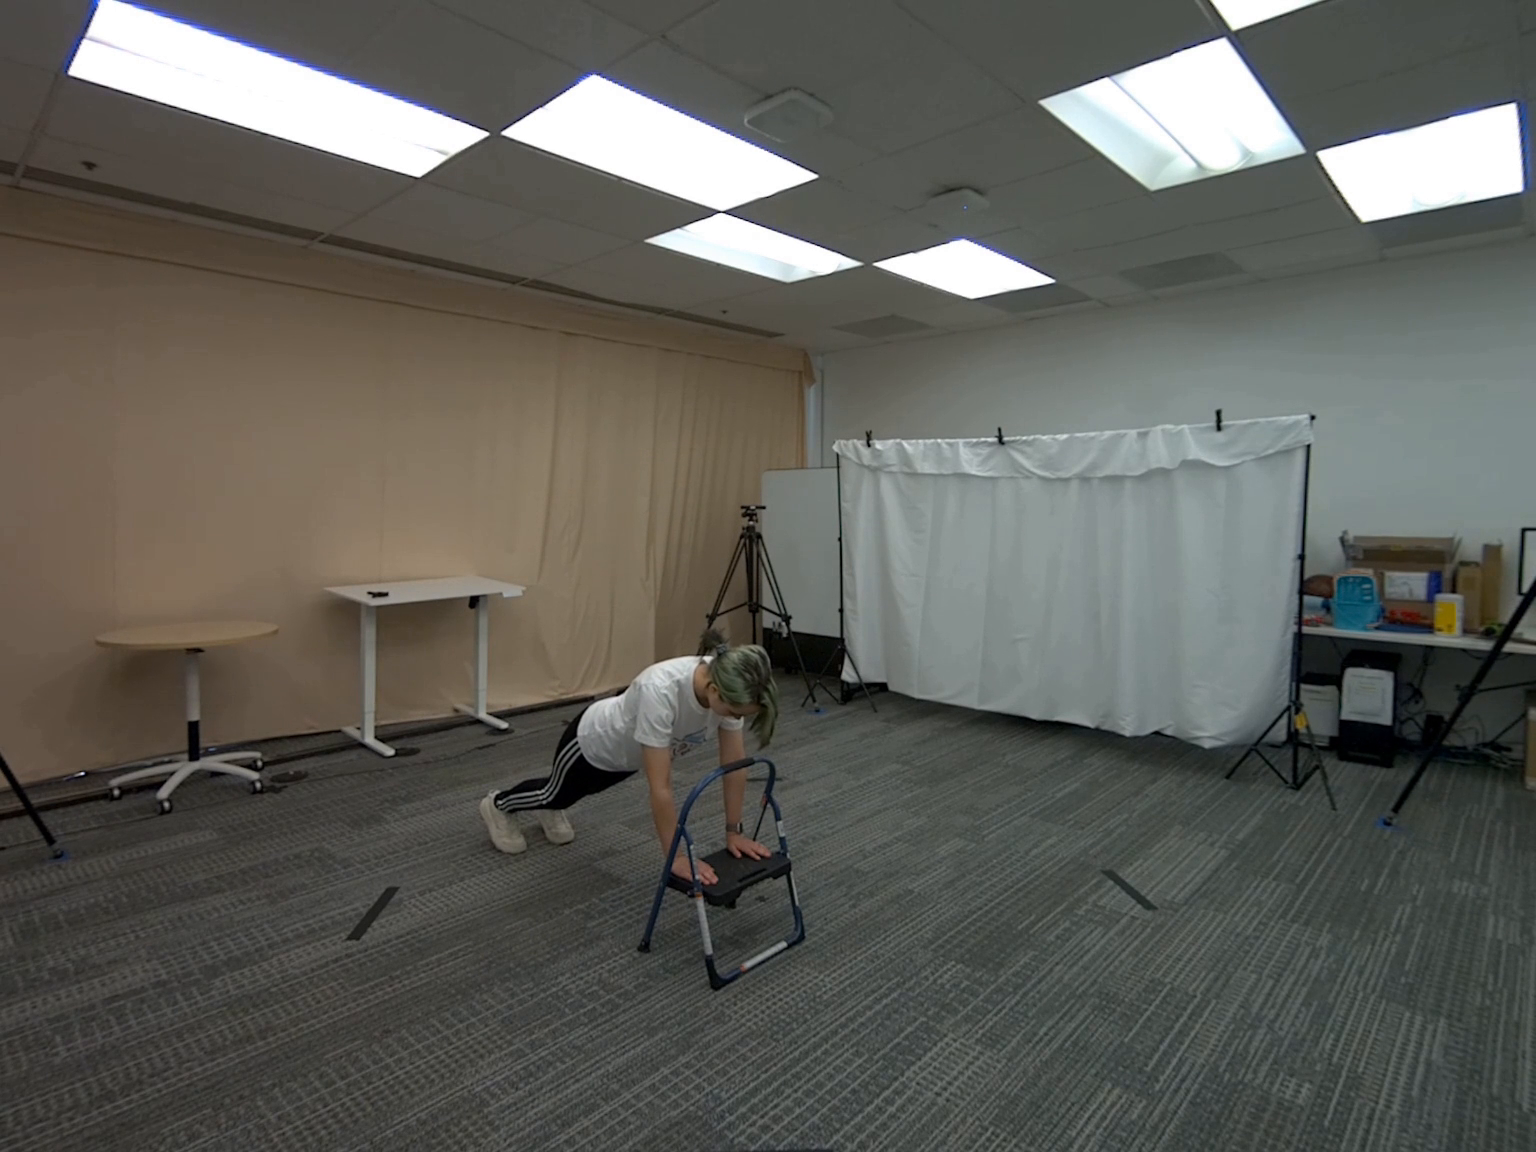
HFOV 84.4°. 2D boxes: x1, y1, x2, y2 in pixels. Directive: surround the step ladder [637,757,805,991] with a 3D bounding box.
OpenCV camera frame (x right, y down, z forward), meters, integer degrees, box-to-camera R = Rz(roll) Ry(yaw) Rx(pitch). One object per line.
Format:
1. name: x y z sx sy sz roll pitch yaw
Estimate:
1. step ladder: -0.139 0.870 2.660 0.361 0.605 0.417 3 4 42
